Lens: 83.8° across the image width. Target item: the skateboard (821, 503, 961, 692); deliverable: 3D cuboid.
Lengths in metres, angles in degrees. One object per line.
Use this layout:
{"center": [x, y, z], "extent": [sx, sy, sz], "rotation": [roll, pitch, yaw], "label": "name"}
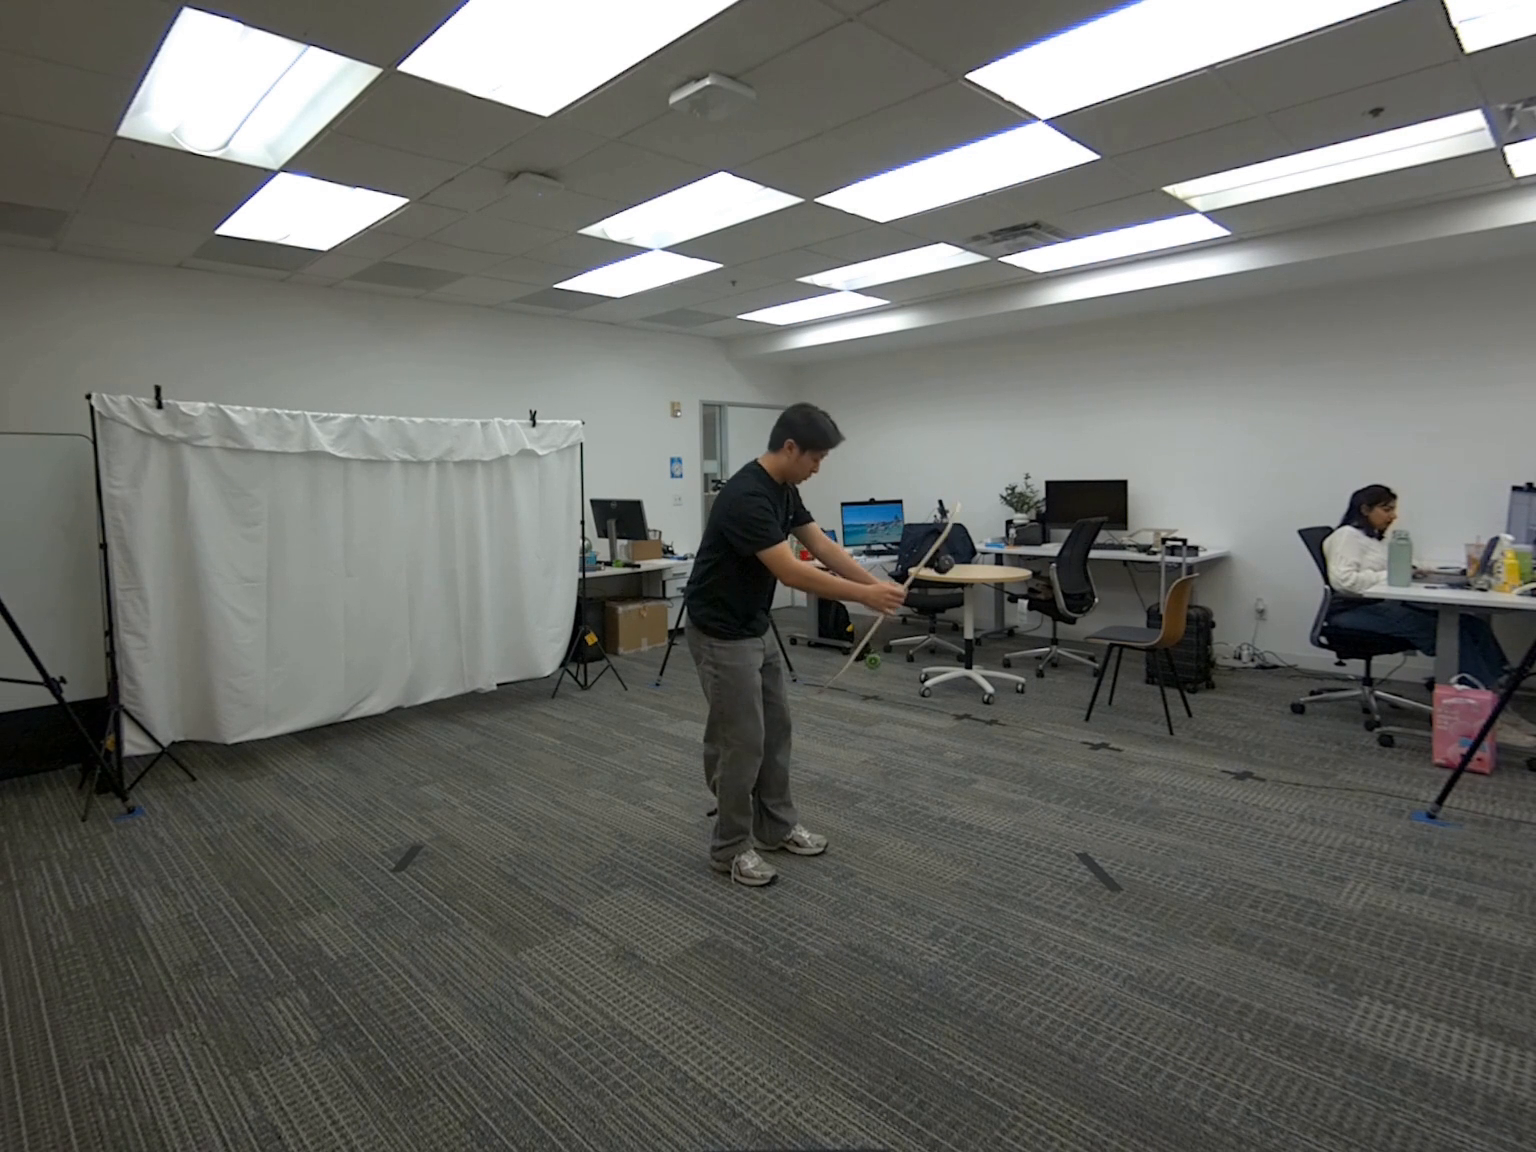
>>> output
{"center": [0.439, 0.115, 2.840], "extent": [0.112, 0.785, 0.191], "rotation": [36, -1, 7], "label": "skateboard"}
